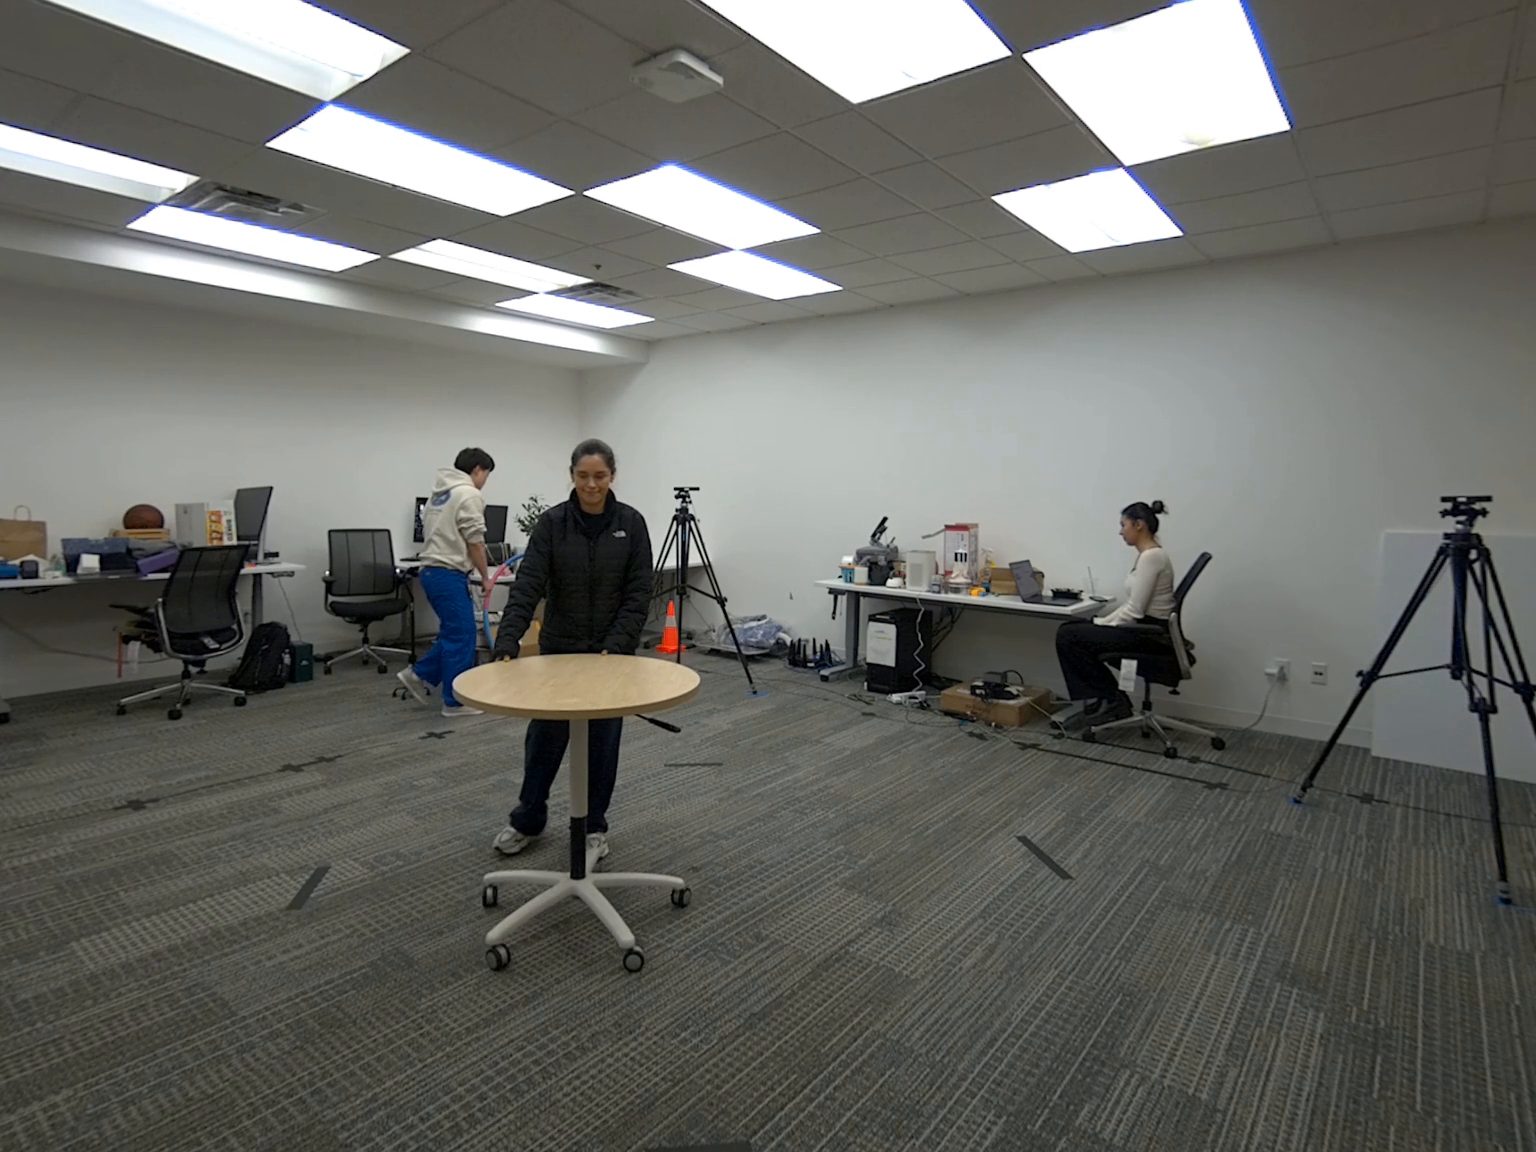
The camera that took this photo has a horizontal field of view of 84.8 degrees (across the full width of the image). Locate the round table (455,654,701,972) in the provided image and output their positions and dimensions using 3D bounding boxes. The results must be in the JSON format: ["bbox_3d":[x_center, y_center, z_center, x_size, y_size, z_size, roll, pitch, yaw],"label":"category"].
[{"bbox_3d":[-0.590,0.704,2.734,0.784,0.784,0.789,1,5,-2],"label":"round table"}]
